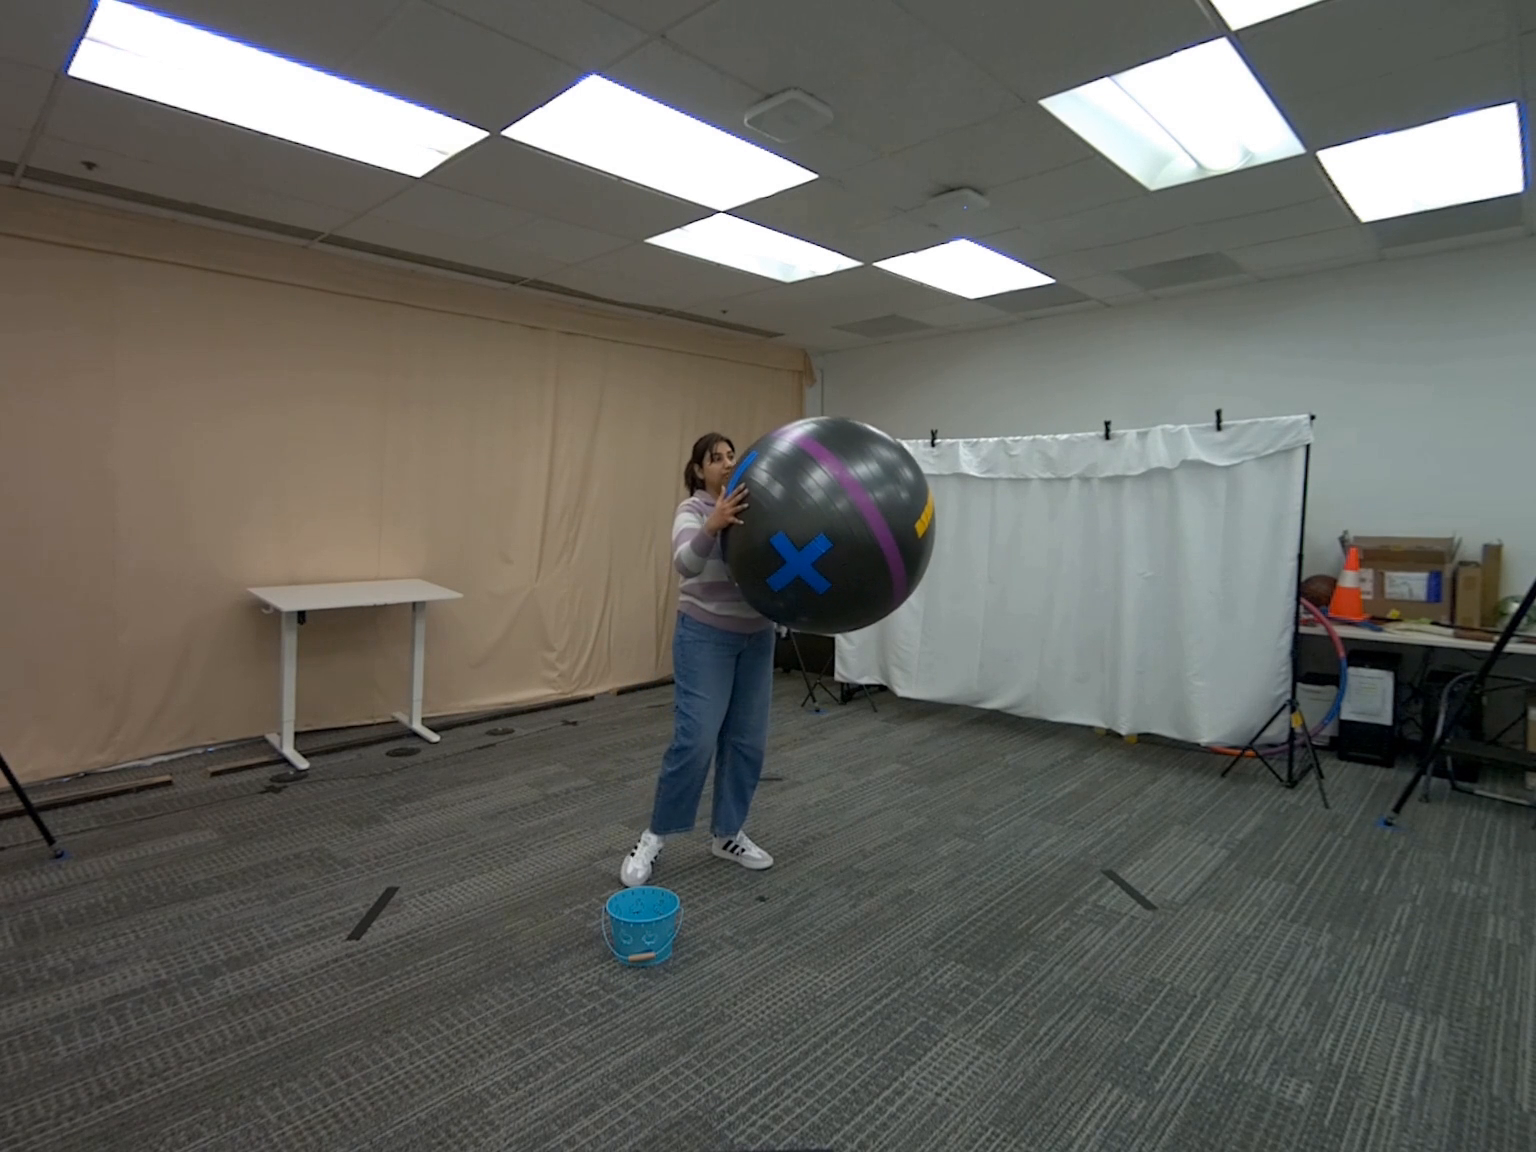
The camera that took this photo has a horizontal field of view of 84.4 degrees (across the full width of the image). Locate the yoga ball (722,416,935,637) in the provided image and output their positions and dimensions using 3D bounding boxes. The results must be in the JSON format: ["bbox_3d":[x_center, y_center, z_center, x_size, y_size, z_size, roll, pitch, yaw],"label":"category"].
[{"bbox_3d":[0.203,-0.169,2.931,0.757,0.756,0.761,0,4,-2],"label":"yoga ball"}]
